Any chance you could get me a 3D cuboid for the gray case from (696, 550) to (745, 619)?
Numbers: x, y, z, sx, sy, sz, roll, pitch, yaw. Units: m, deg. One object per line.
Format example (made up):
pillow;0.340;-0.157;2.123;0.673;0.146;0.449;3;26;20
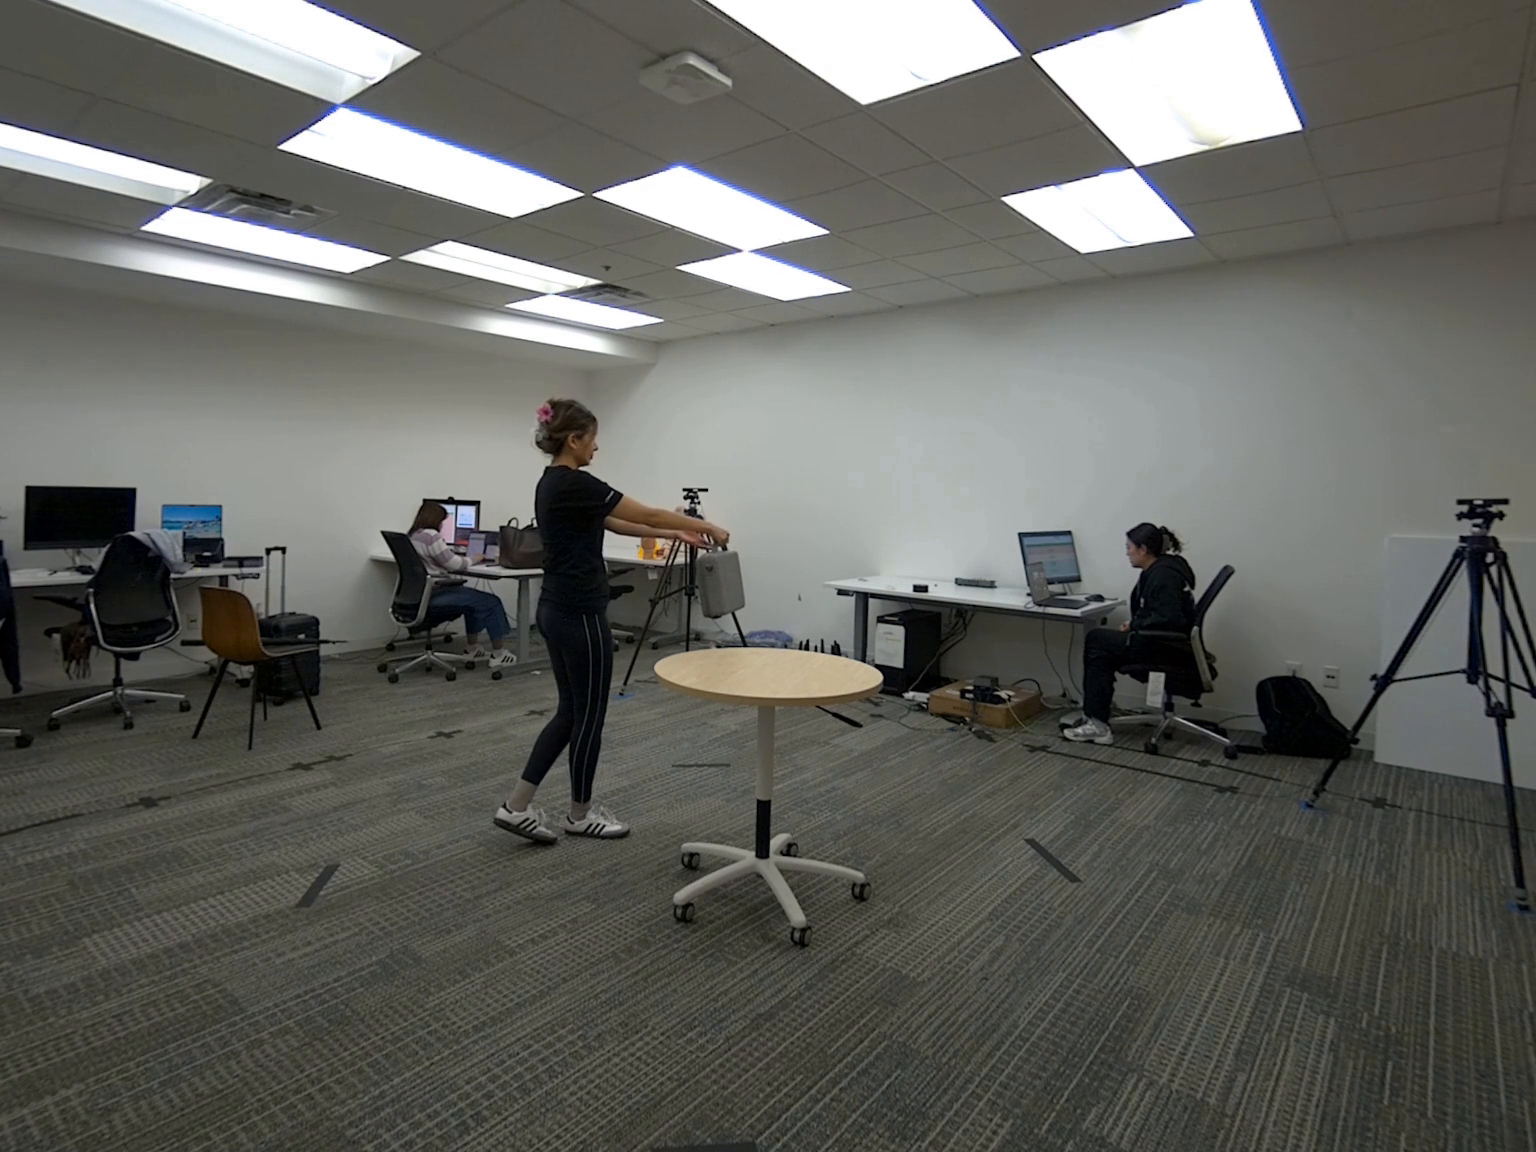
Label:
gray case;-0.206;0.024;3.443;0.106;0.260;0.253;-5;5;20
